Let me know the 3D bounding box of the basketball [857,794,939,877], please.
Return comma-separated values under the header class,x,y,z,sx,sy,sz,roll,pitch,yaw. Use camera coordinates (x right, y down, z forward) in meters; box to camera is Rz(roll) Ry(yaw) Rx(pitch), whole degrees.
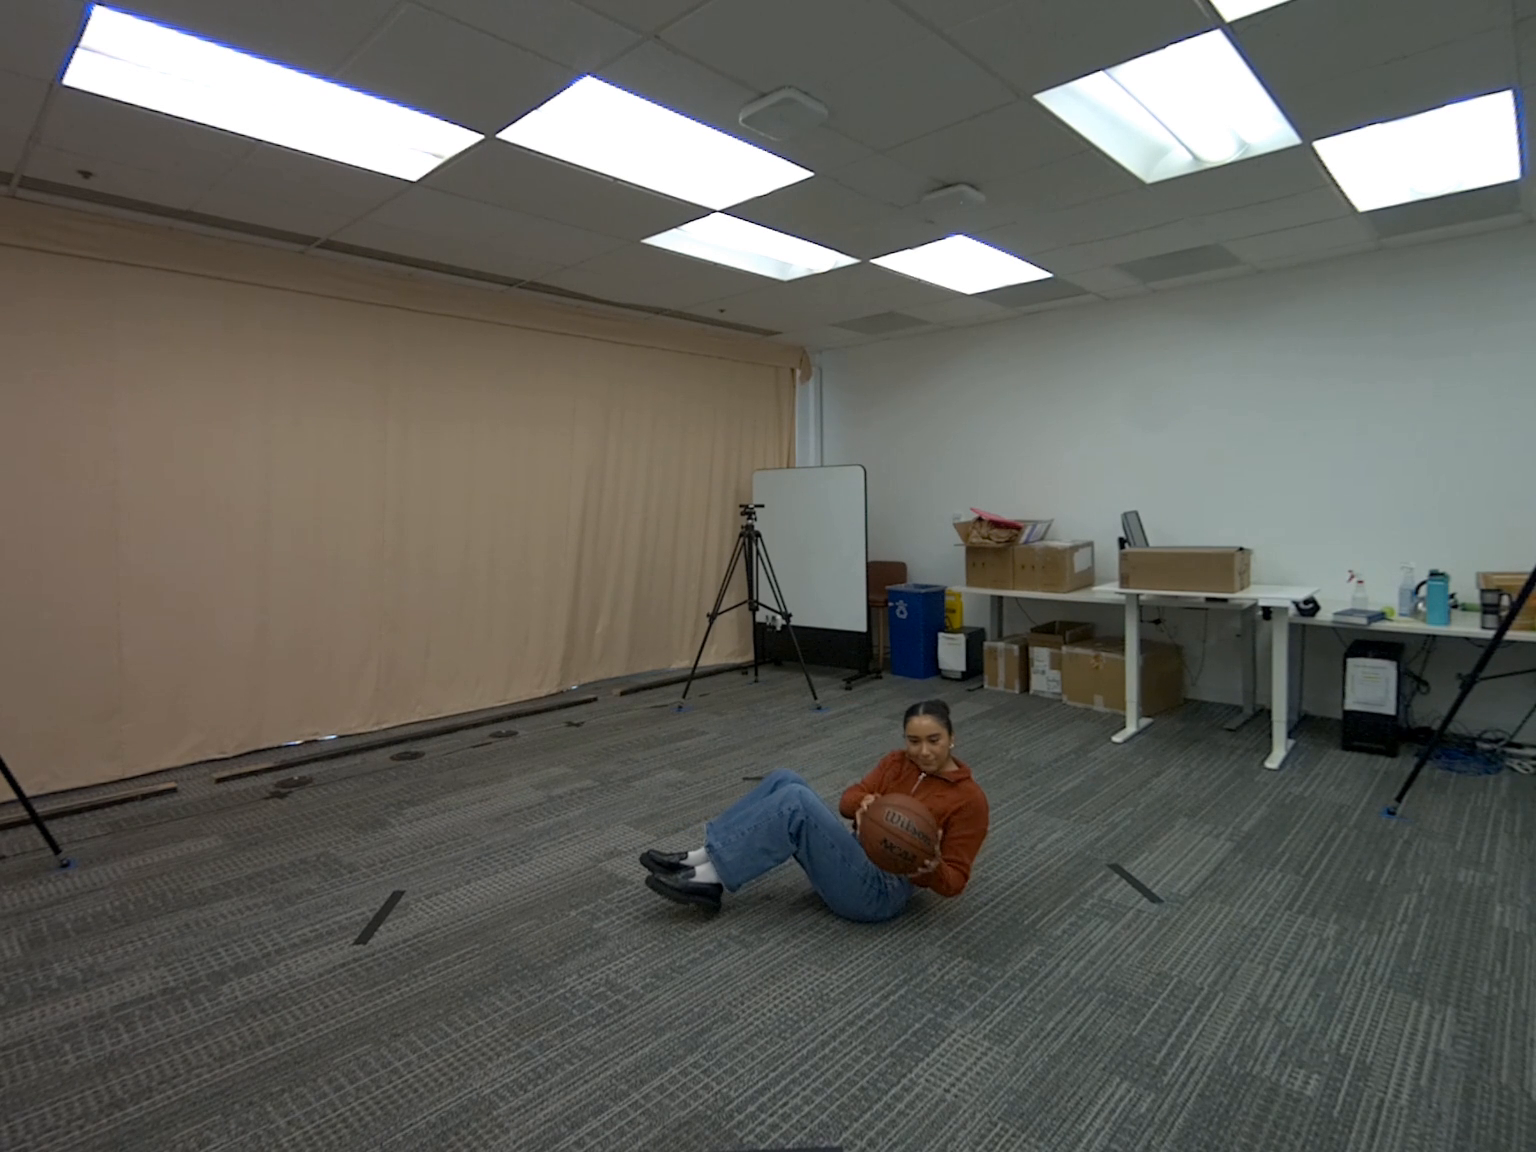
class,x,y,z,sx,sy,sz,roll,pitch,yaw
basketball,0.406,0.784,2.581,0.236,0.235,0.237,-1,4,-2
